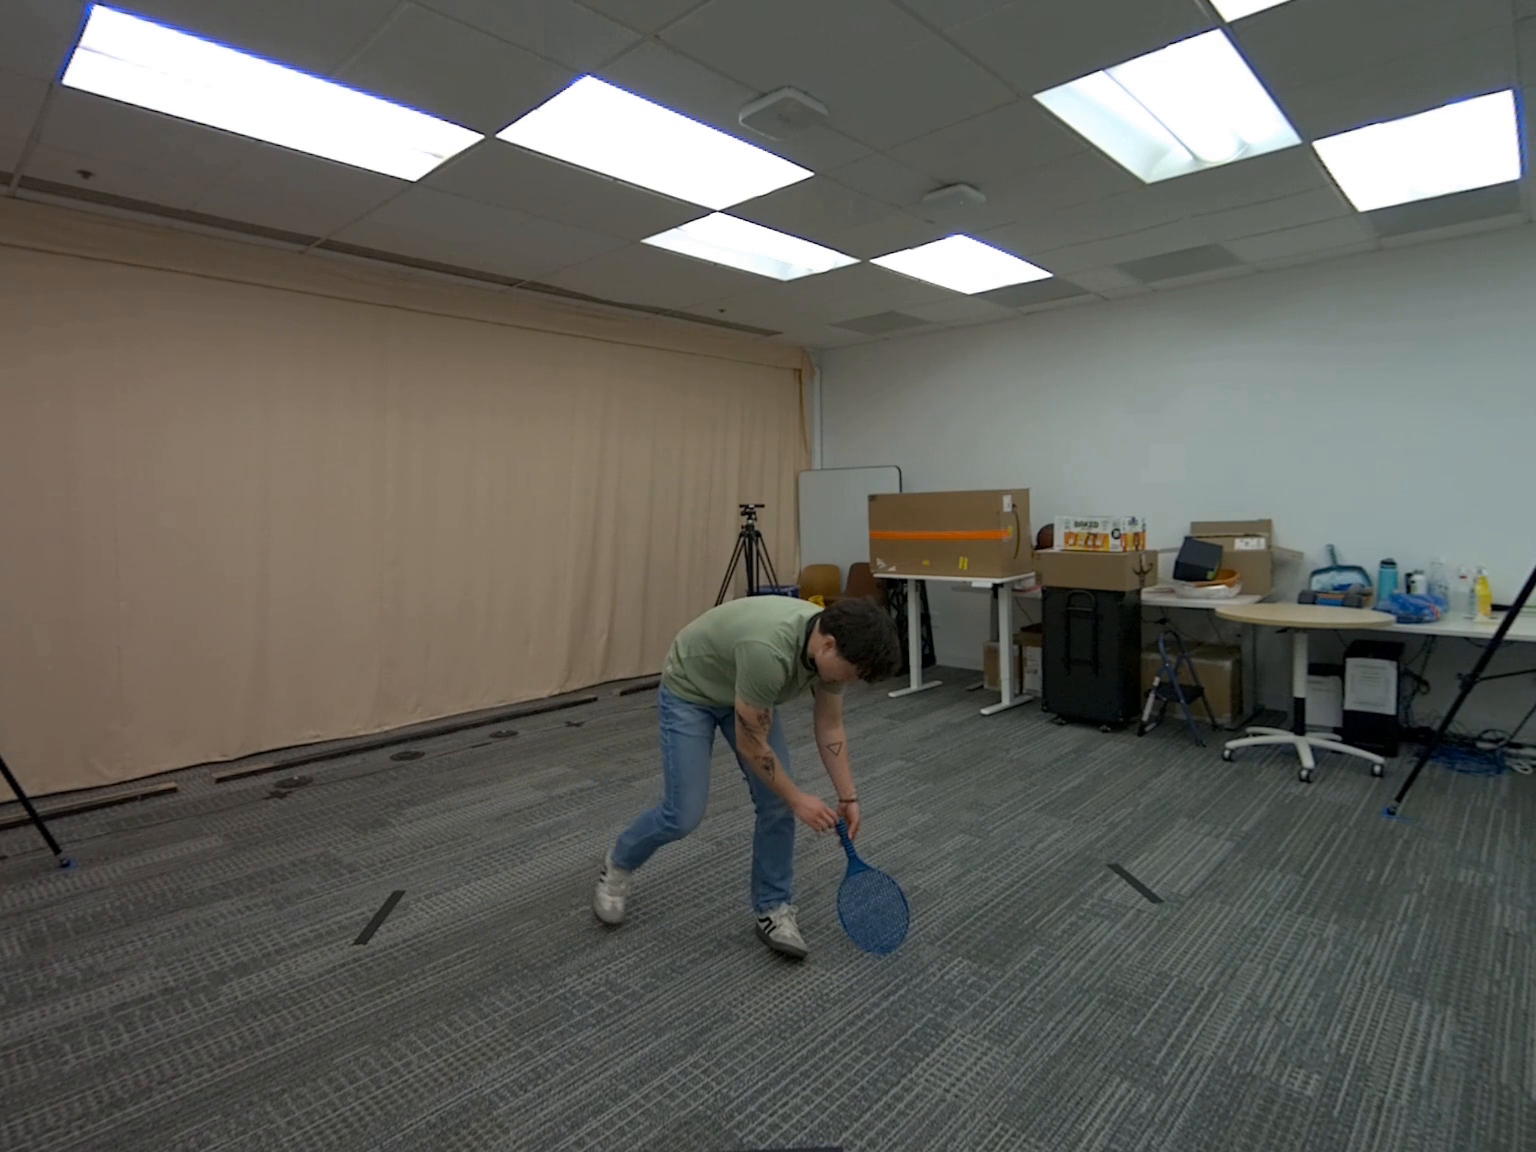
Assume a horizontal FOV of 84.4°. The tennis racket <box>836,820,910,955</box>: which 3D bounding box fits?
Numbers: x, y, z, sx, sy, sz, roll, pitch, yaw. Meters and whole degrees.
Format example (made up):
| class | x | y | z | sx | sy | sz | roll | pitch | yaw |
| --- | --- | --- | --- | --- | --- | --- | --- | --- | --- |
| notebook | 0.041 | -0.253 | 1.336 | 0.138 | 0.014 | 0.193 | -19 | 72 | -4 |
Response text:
| class | x | y | z | sx | sy | sz | roll | pitch | yaw |
| --- | --- | --- | --- | --- | --- | --- | --- | --- | --- |
| tennis racket | 0.302 | 0.961 | 2.601 | 0.215 | 0.433 | 0.031 | -19 | -1 | 6 |
